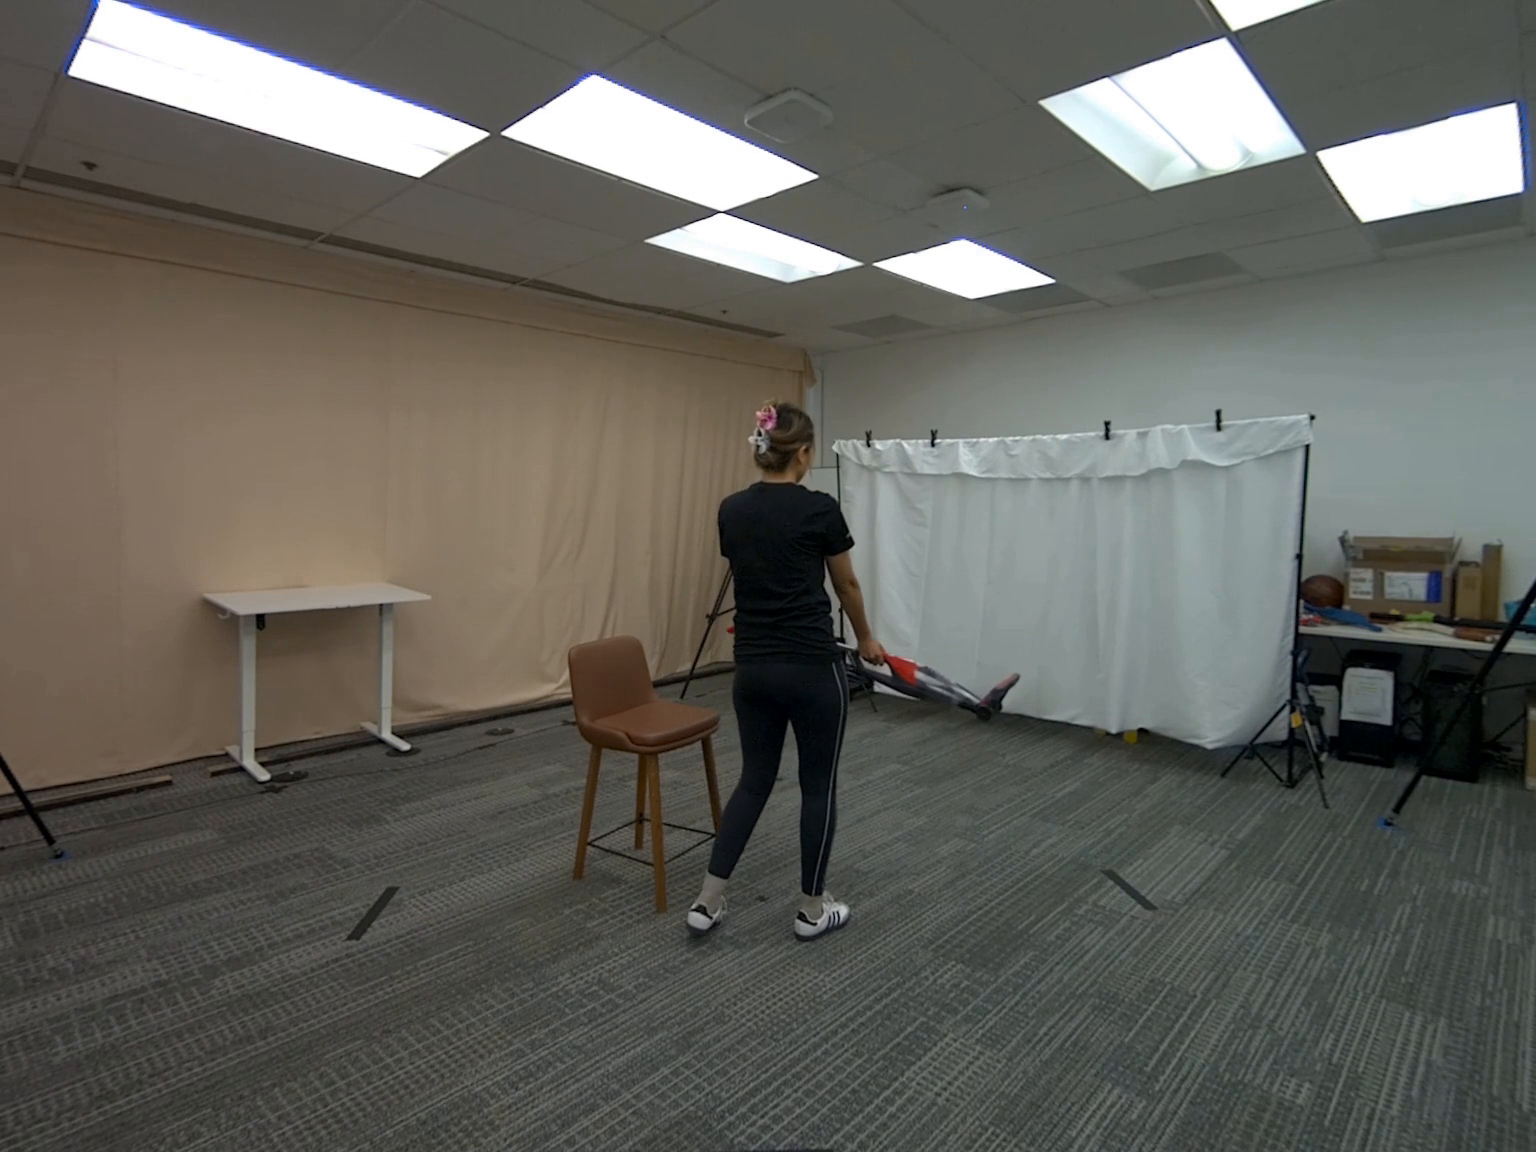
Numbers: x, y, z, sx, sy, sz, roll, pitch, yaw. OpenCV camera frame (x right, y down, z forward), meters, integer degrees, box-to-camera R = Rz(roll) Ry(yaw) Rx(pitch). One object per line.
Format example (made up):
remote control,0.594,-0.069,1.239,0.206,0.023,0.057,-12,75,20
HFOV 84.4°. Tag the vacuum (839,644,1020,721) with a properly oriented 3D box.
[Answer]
vacuum,0.313,0.314,3.001,1.084,0.143,0.245,12,10,34
